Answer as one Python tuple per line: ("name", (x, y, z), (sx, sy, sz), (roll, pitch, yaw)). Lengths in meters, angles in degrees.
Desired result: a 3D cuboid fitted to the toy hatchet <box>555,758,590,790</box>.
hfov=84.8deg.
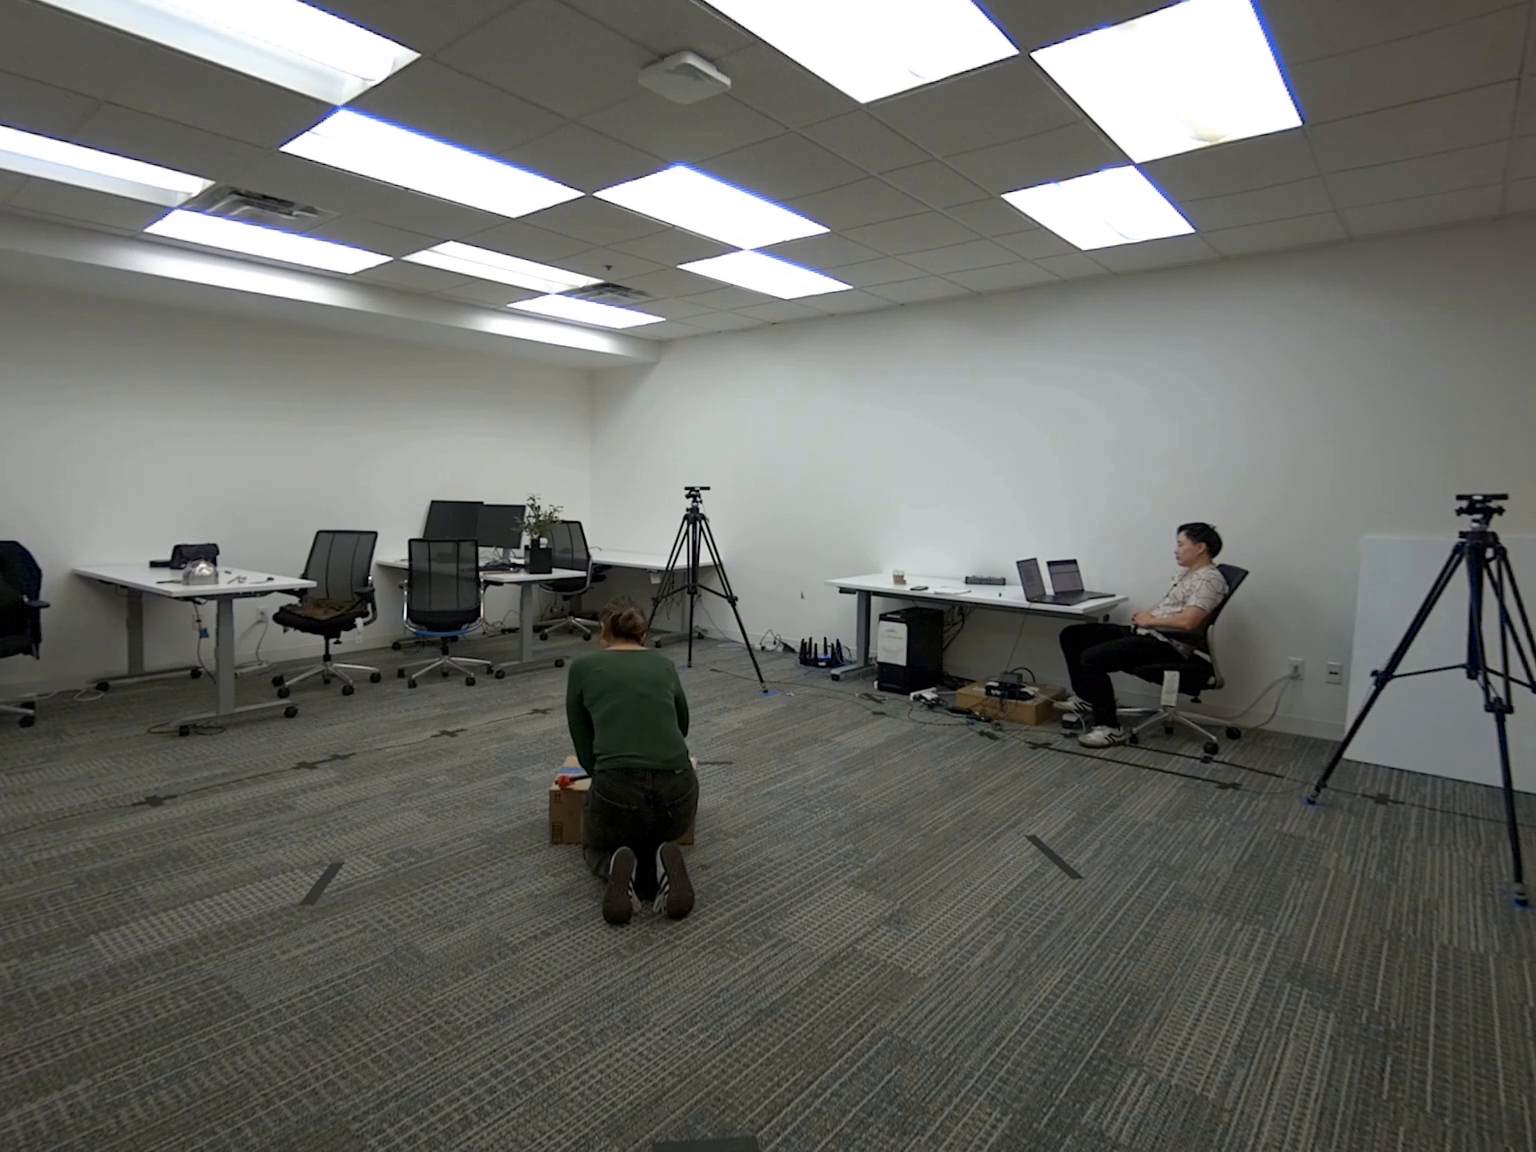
("toy hatchet", (-0.713, 0.788, 3.312), (0.262, 0.030, 0.131), (7, -35, -30))
